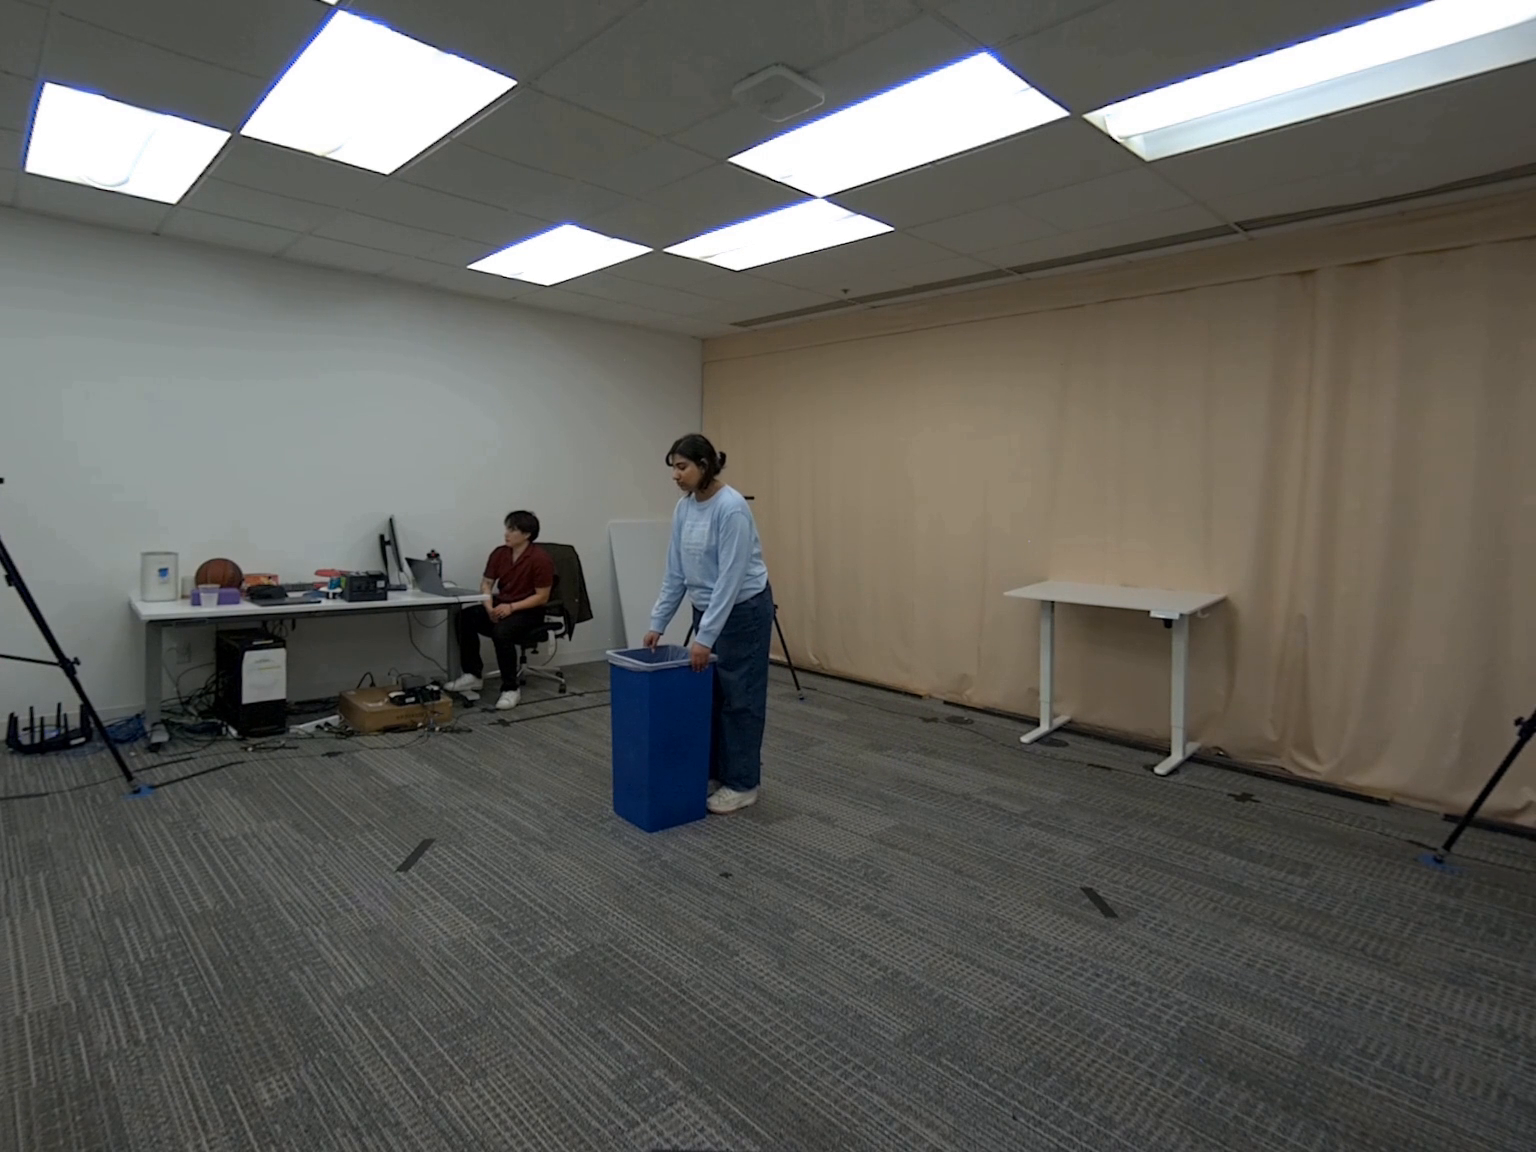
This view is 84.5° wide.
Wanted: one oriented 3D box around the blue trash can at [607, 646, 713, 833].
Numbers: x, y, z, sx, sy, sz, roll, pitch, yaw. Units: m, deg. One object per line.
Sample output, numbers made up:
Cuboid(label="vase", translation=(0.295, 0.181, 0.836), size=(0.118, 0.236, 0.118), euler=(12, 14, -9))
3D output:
Cuboid(label="blue trash can", translation=(-0.480, 0.690, 3.661), size=(0.365, 0.712, 0.387), euler=(-1, 4, -40))
